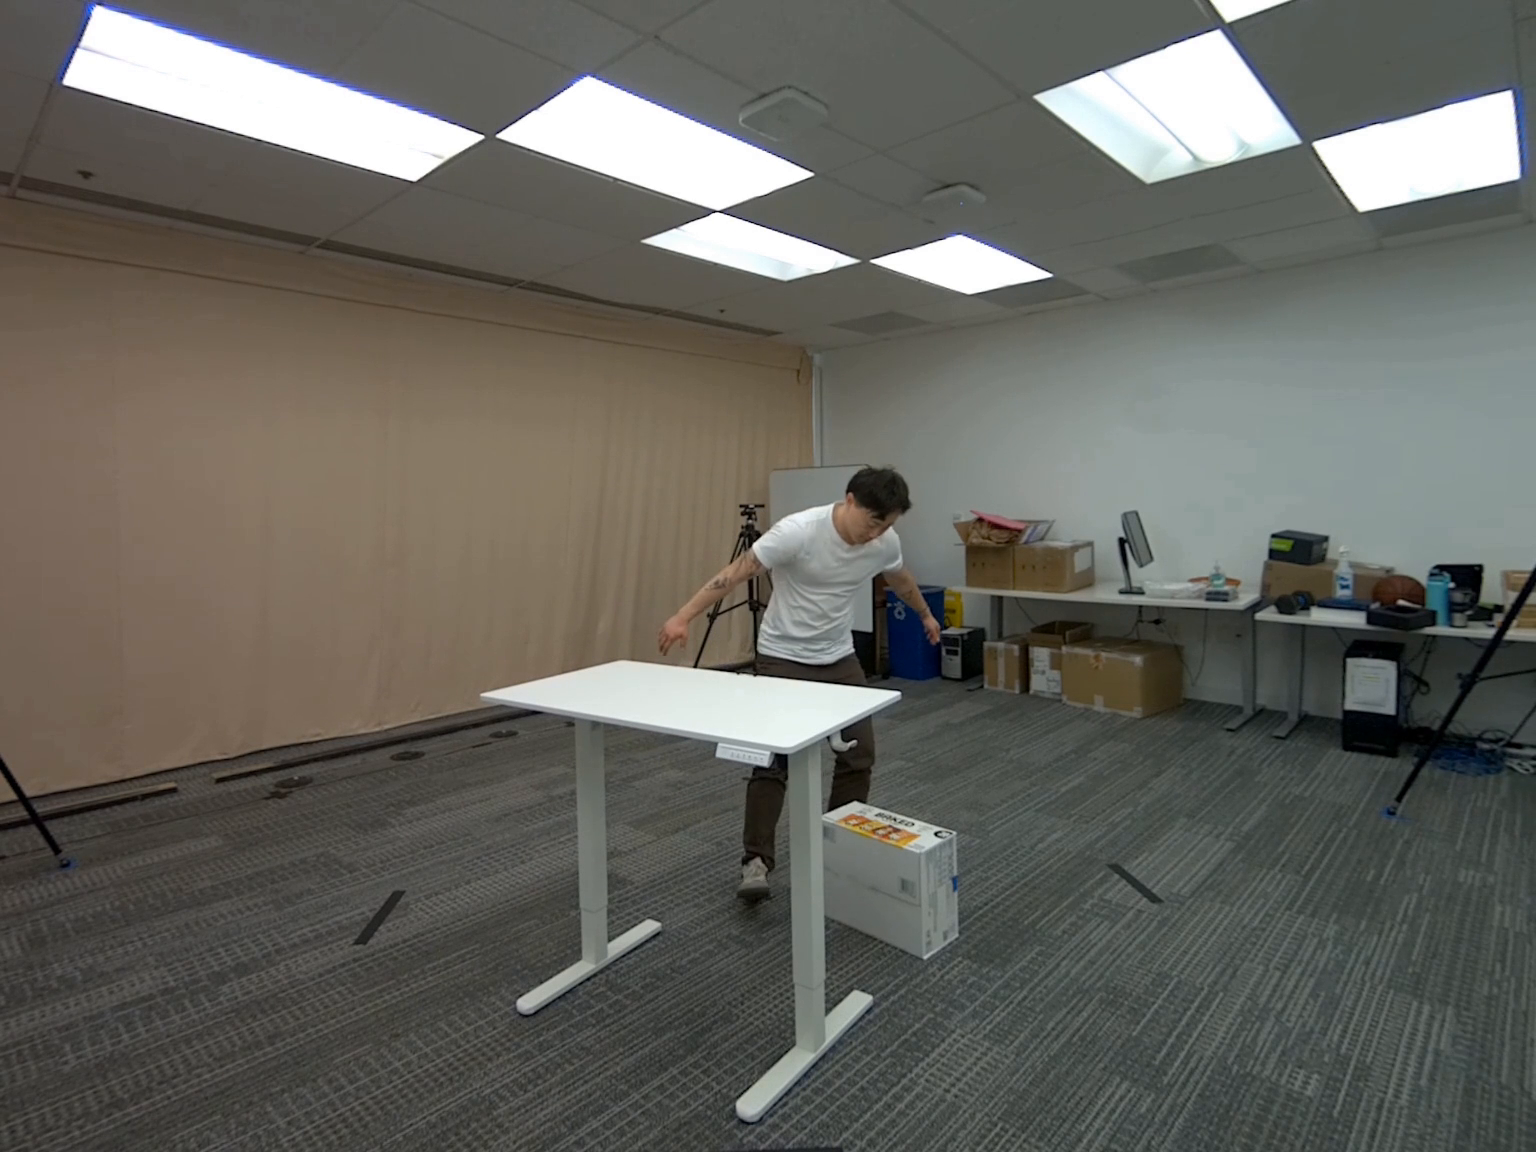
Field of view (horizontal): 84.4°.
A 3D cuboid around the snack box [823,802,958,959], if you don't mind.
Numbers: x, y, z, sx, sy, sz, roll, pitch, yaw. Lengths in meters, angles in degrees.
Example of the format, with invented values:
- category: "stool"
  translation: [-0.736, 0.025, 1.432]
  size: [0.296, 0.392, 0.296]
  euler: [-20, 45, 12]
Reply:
- category: "snack box"
  translation: [0.397, 0.985, 2.756]
  size: [0.199, 0.339, 0.418]
  euler: [-6, 6, -44]
